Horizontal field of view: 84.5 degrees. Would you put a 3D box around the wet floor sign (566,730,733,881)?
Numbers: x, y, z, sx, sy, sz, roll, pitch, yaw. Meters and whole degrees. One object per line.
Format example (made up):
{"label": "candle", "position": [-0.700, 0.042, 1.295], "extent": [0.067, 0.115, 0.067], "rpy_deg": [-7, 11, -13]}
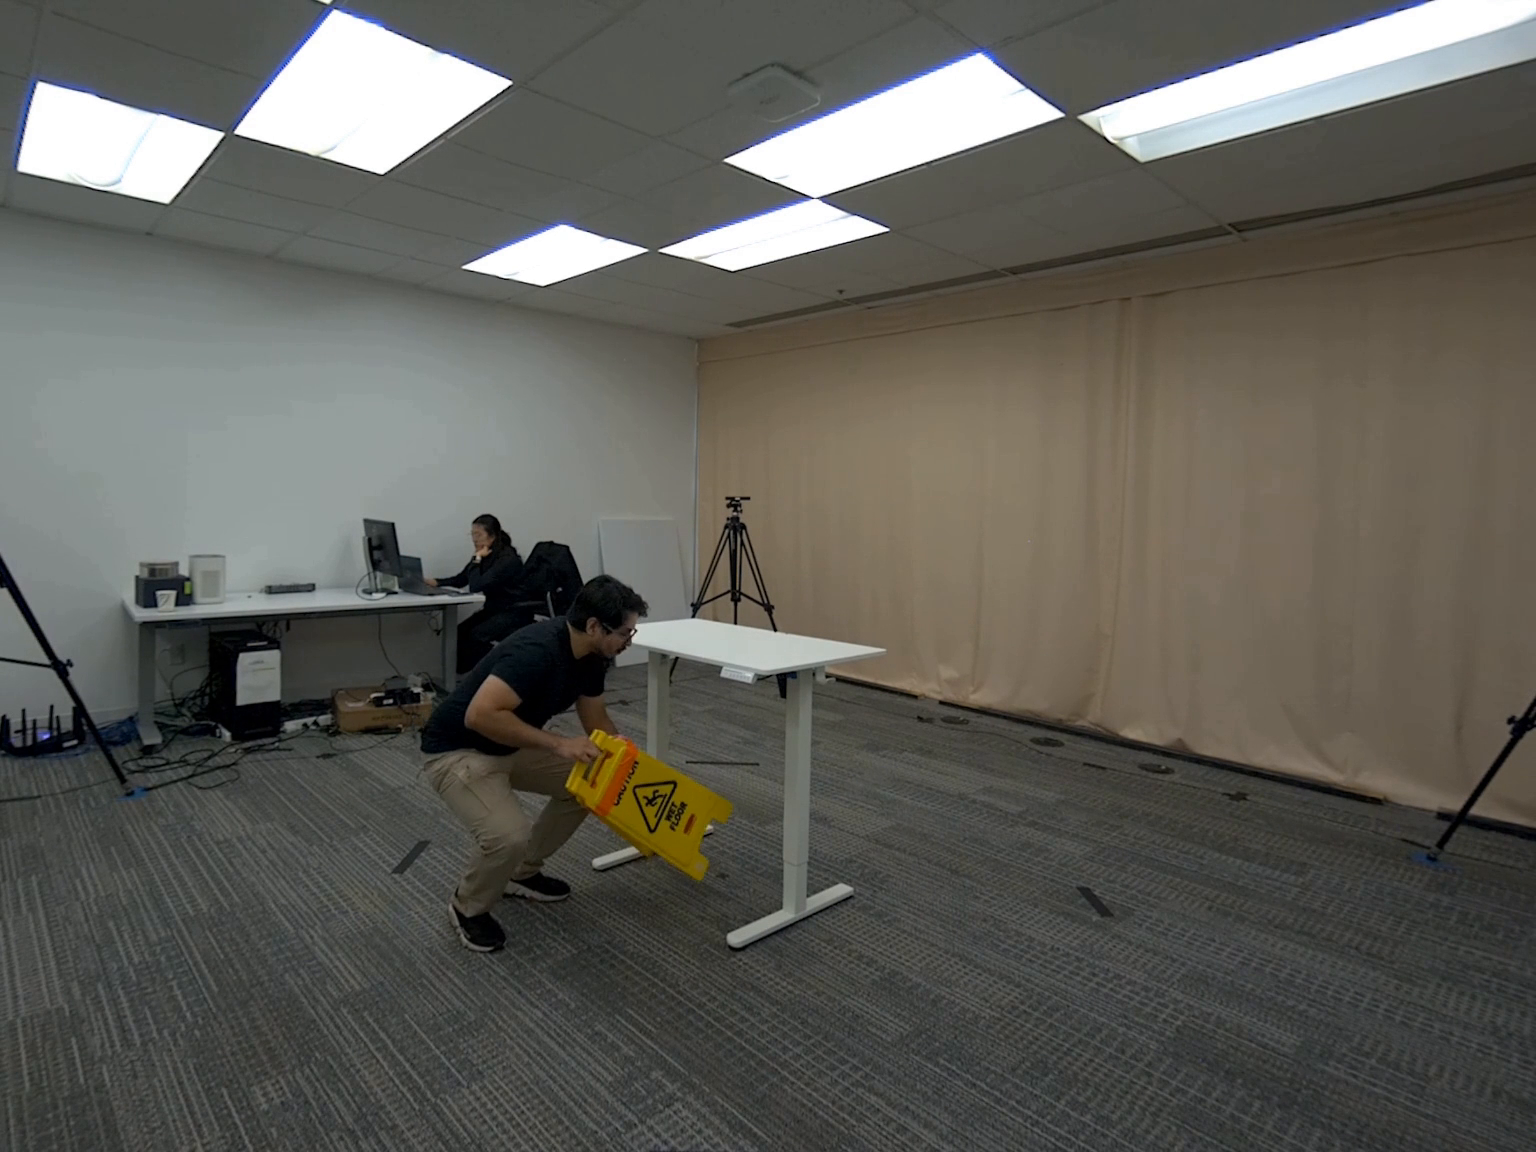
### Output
{"label": "wet floor sign", "position": [-0.430, 0.722, 2.752], "extent": [0.297, 0.284, 0.625], "rpy_deg": [7, -30, 37]}
